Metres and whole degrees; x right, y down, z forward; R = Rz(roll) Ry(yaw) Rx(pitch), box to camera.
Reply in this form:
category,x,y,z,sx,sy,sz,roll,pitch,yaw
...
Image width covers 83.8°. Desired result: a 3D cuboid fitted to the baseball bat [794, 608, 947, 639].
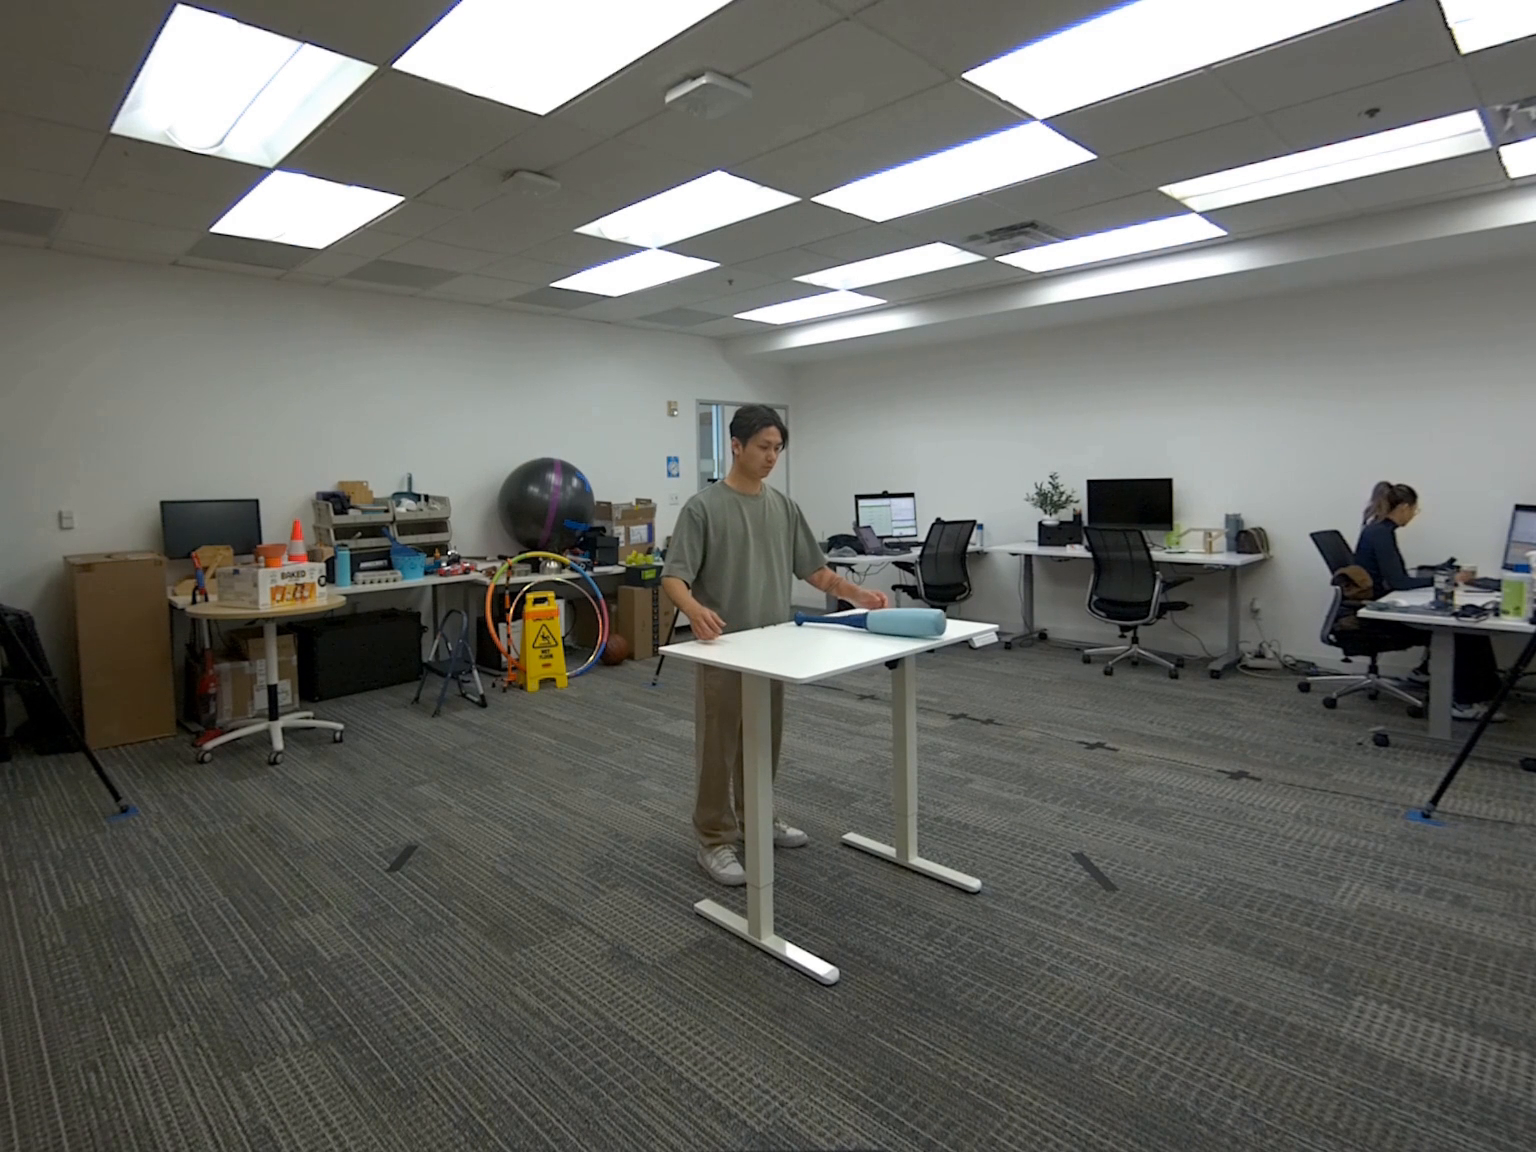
category,x,y,z,sx,sy,sz,roll,pitch,yaw
baseball bat,0.321,0.151,2.822,0.557,0.089,0.087,-2,4,32
